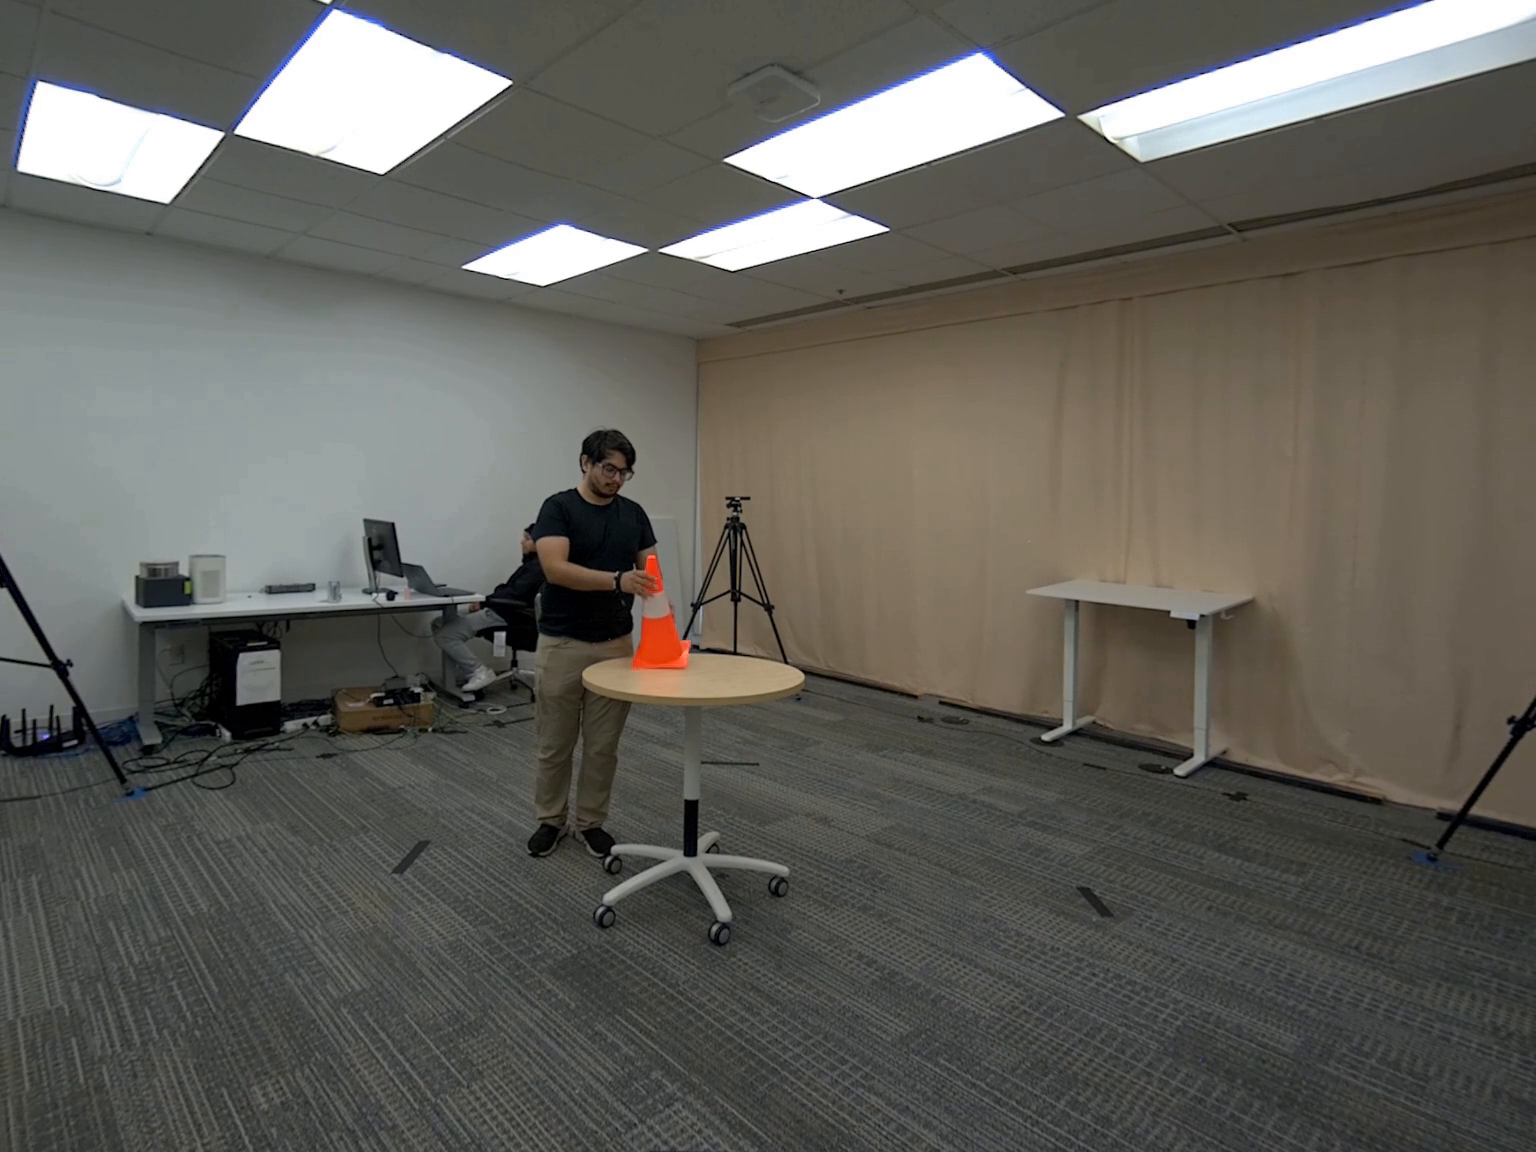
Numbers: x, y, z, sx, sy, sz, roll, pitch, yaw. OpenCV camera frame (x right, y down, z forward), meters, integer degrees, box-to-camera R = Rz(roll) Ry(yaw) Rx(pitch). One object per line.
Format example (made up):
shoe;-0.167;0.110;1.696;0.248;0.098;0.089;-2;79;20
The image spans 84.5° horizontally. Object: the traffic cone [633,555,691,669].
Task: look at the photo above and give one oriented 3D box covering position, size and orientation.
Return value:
traffic cone;-0.404;0.116;2.998;0.206;0.379;0.204;1;15;8
